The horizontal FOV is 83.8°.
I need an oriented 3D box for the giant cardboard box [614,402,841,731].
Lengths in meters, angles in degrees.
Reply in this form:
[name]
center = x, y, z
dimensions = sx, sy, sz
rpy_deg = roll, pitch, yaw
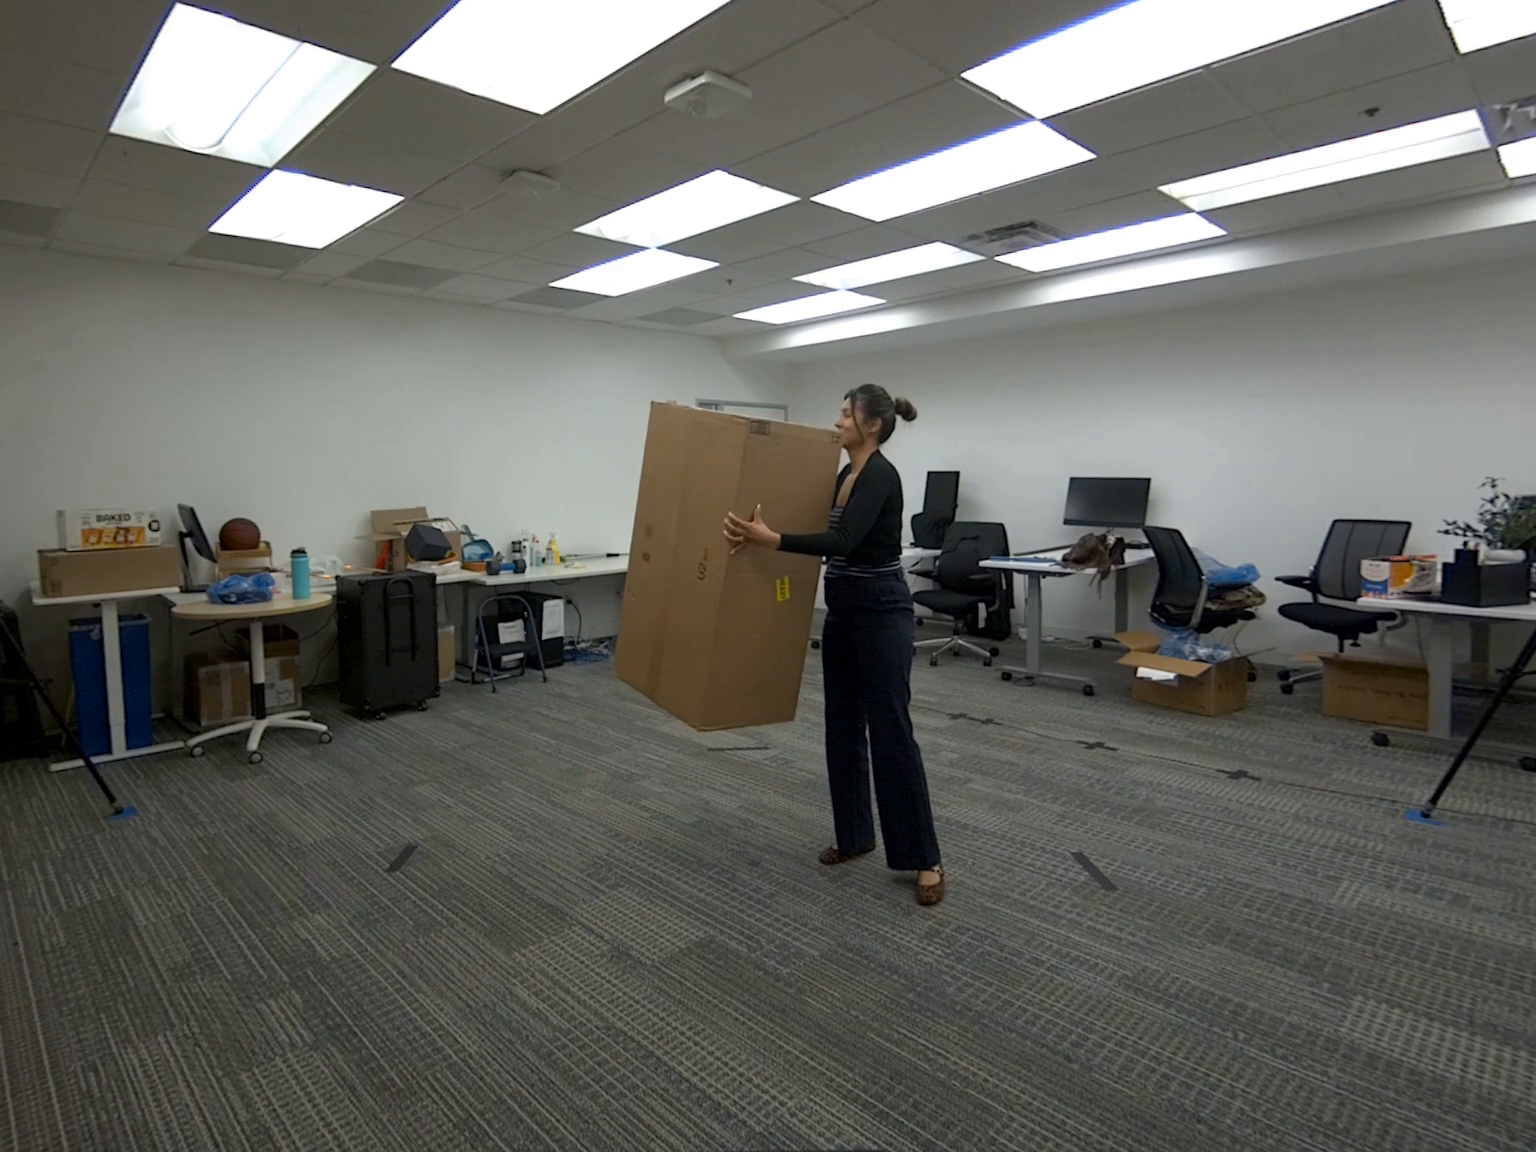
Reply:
[giant cardboard box]
center = -0.161, -0.057, 3.028
dimensions = 0.414, 1.020, 0.598
rpy_deg = 3, 10, -39
